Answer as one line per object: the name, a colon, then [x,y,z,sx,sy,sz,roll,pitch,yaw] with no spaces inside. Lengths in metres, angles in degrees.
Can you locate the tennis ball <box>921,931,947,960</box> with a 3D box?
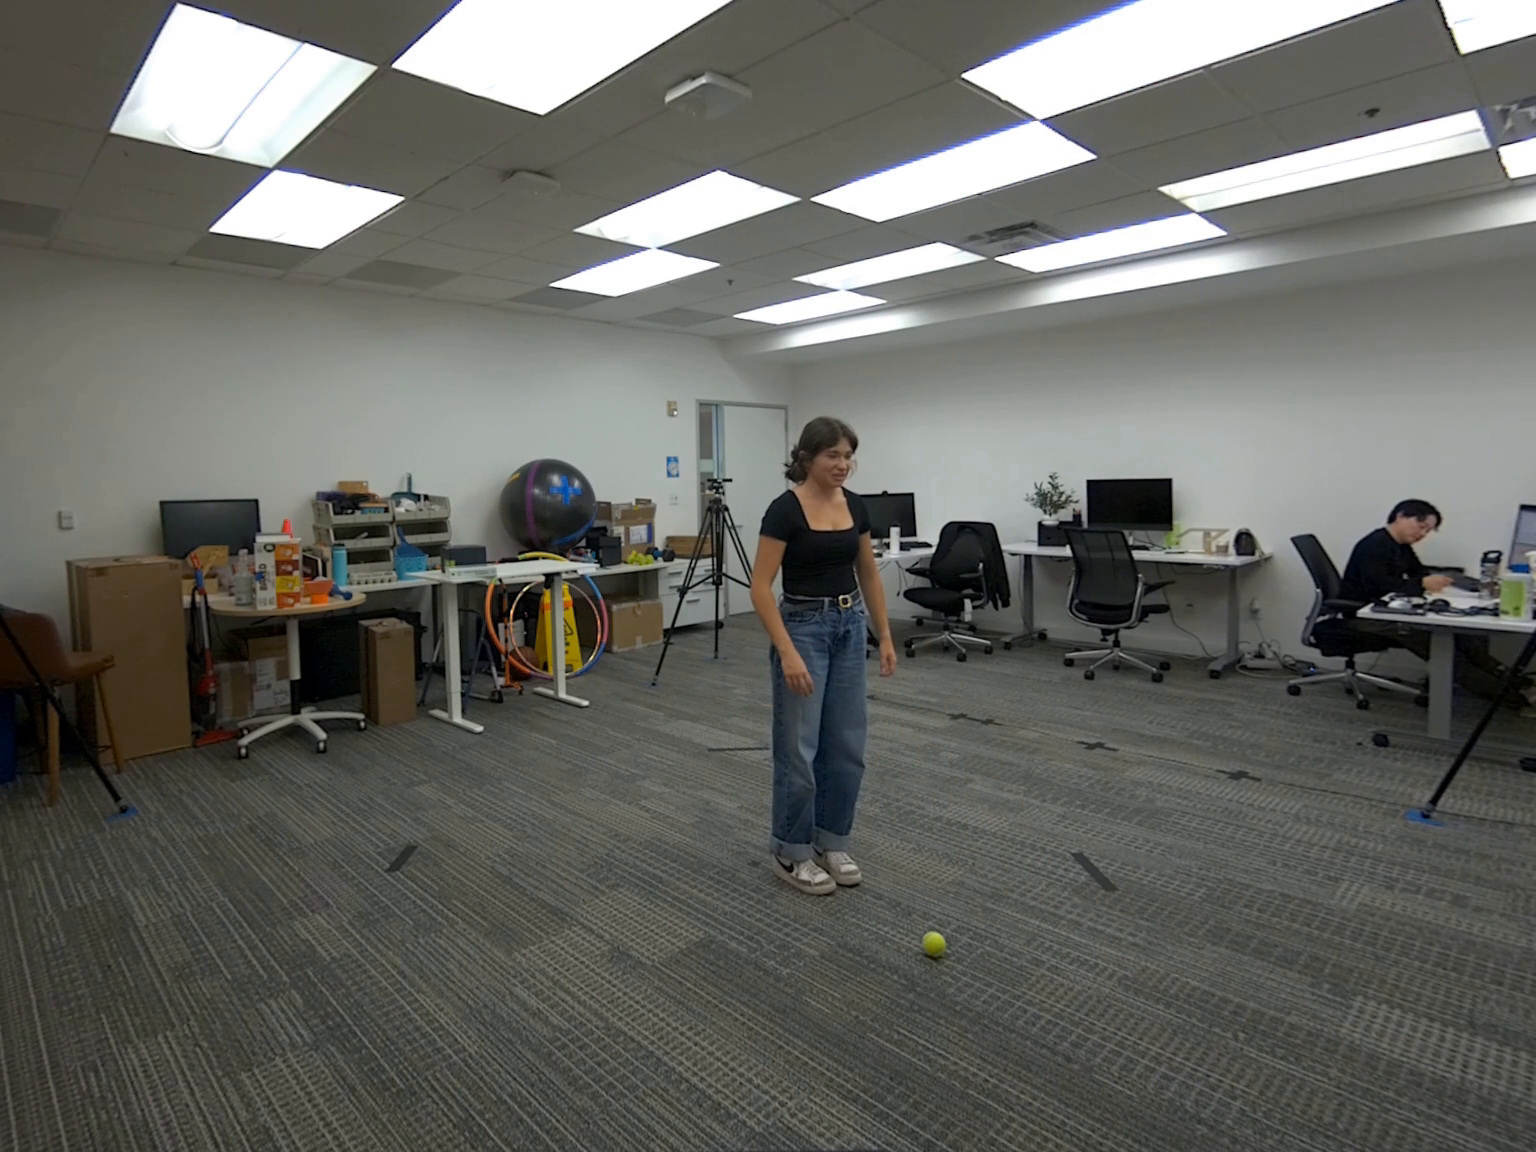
tennis ball: [0.485,1.069,2.485,0.066,0.066,0.067,-1,5,-2]
